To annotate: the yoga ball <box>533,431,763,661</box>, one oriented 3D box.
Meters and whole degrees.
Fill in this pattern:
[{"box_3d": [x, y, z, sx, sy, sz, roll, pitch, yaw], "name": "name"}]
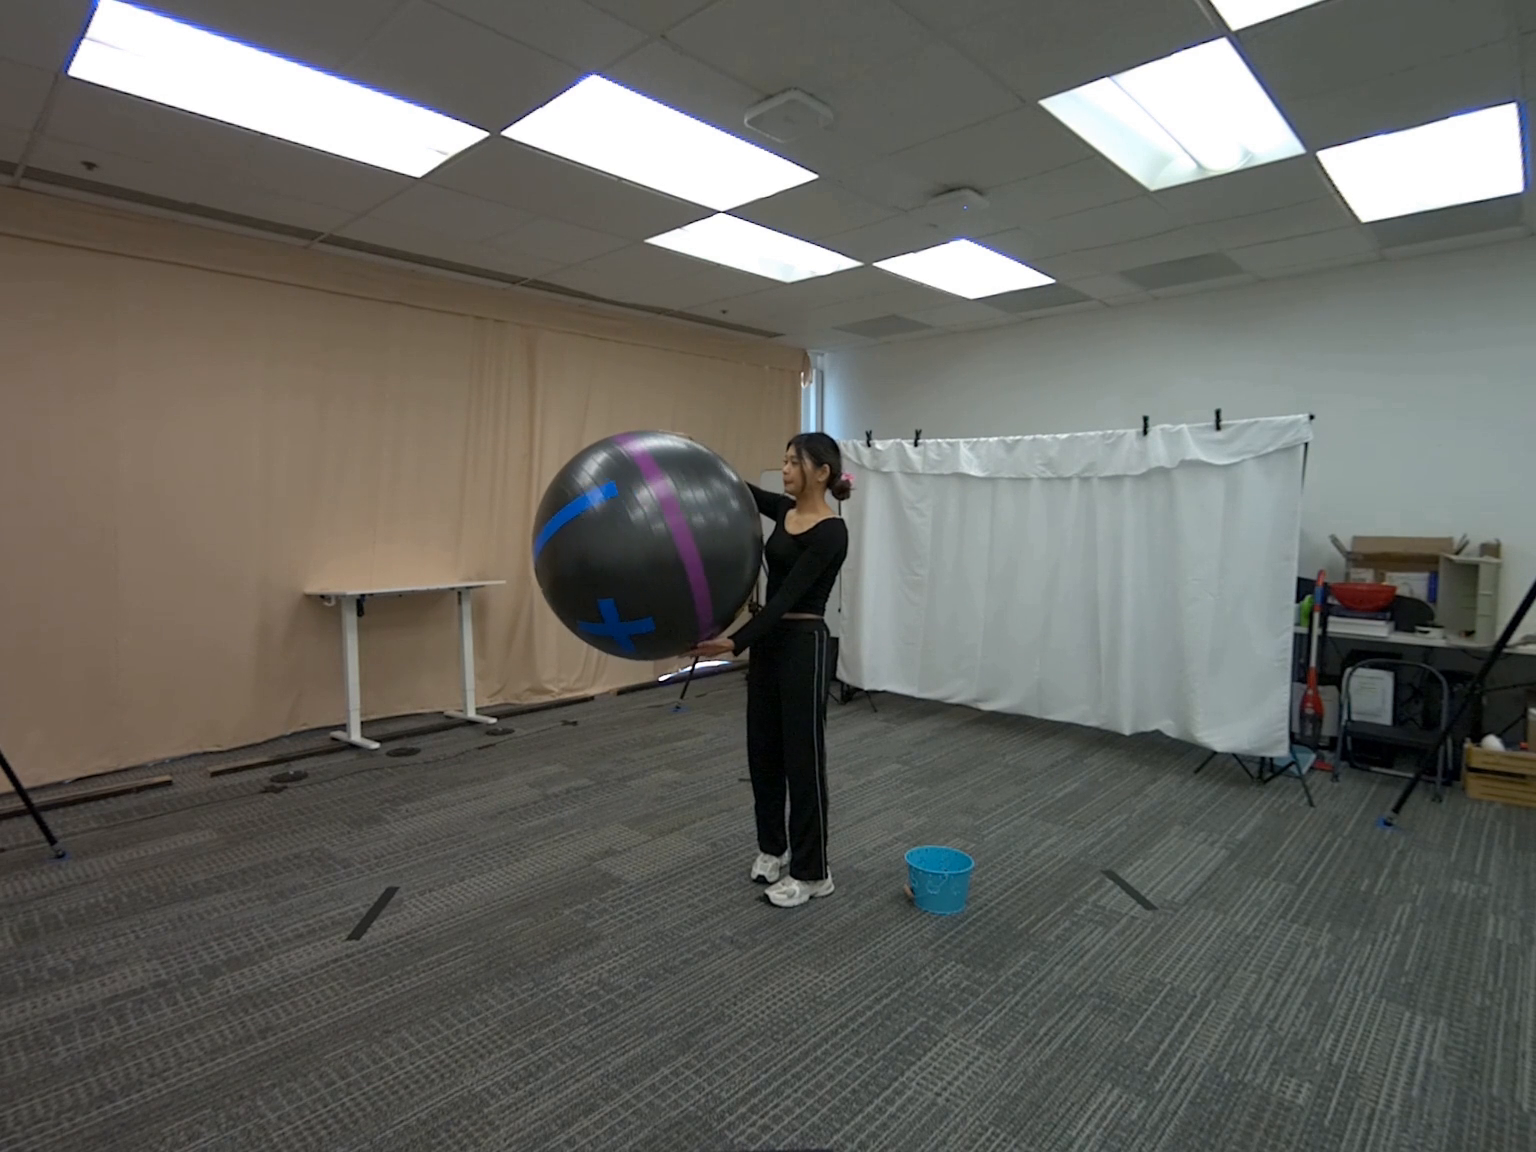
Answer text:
[{"box_3d": [-0.397, -0.095, 2.793, 0.757, 0.756, 0.760, 0, 4, -2], "name": "yoga ball"}]
